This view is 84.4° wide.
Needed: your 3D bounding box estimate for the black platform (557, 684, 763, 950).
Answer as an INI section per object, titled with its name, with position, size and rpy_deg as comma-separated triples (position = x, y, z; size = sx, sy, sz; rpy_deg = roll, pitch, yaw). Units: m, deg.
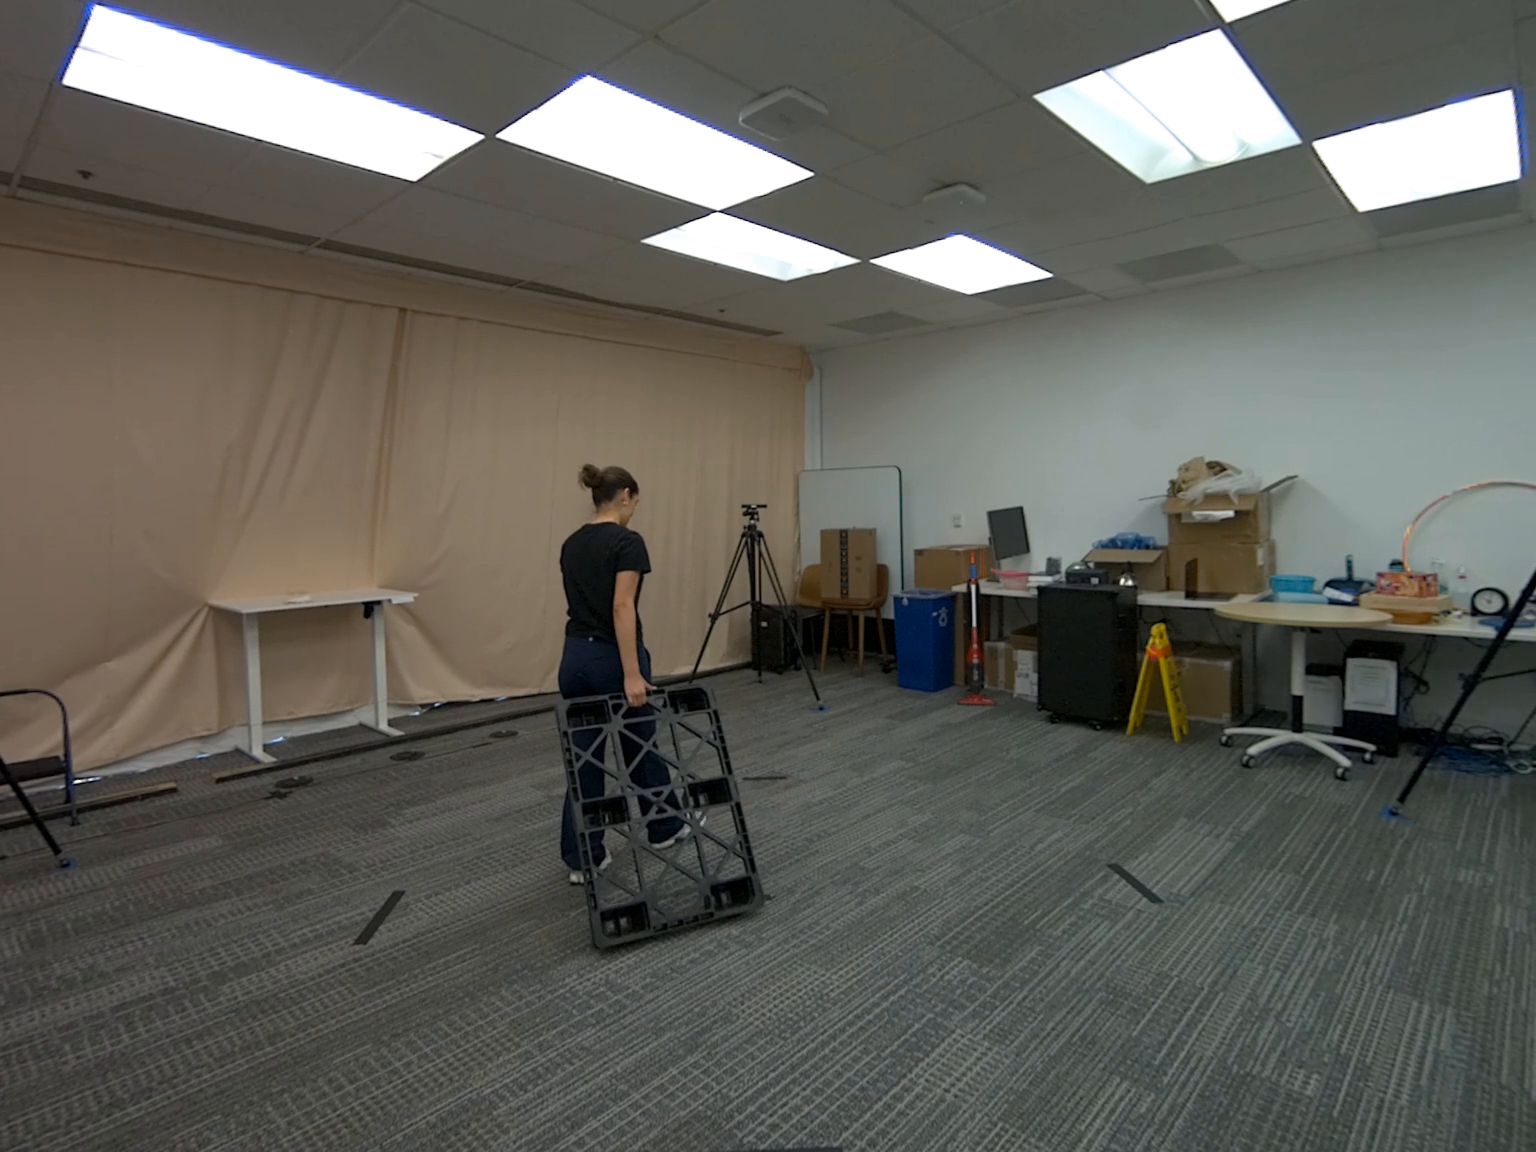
[black platform]
position = -0.372, 0.798, 2.931
size = 0.590, 0.821, 0.144
rpy_deg = -3, -26, -27
